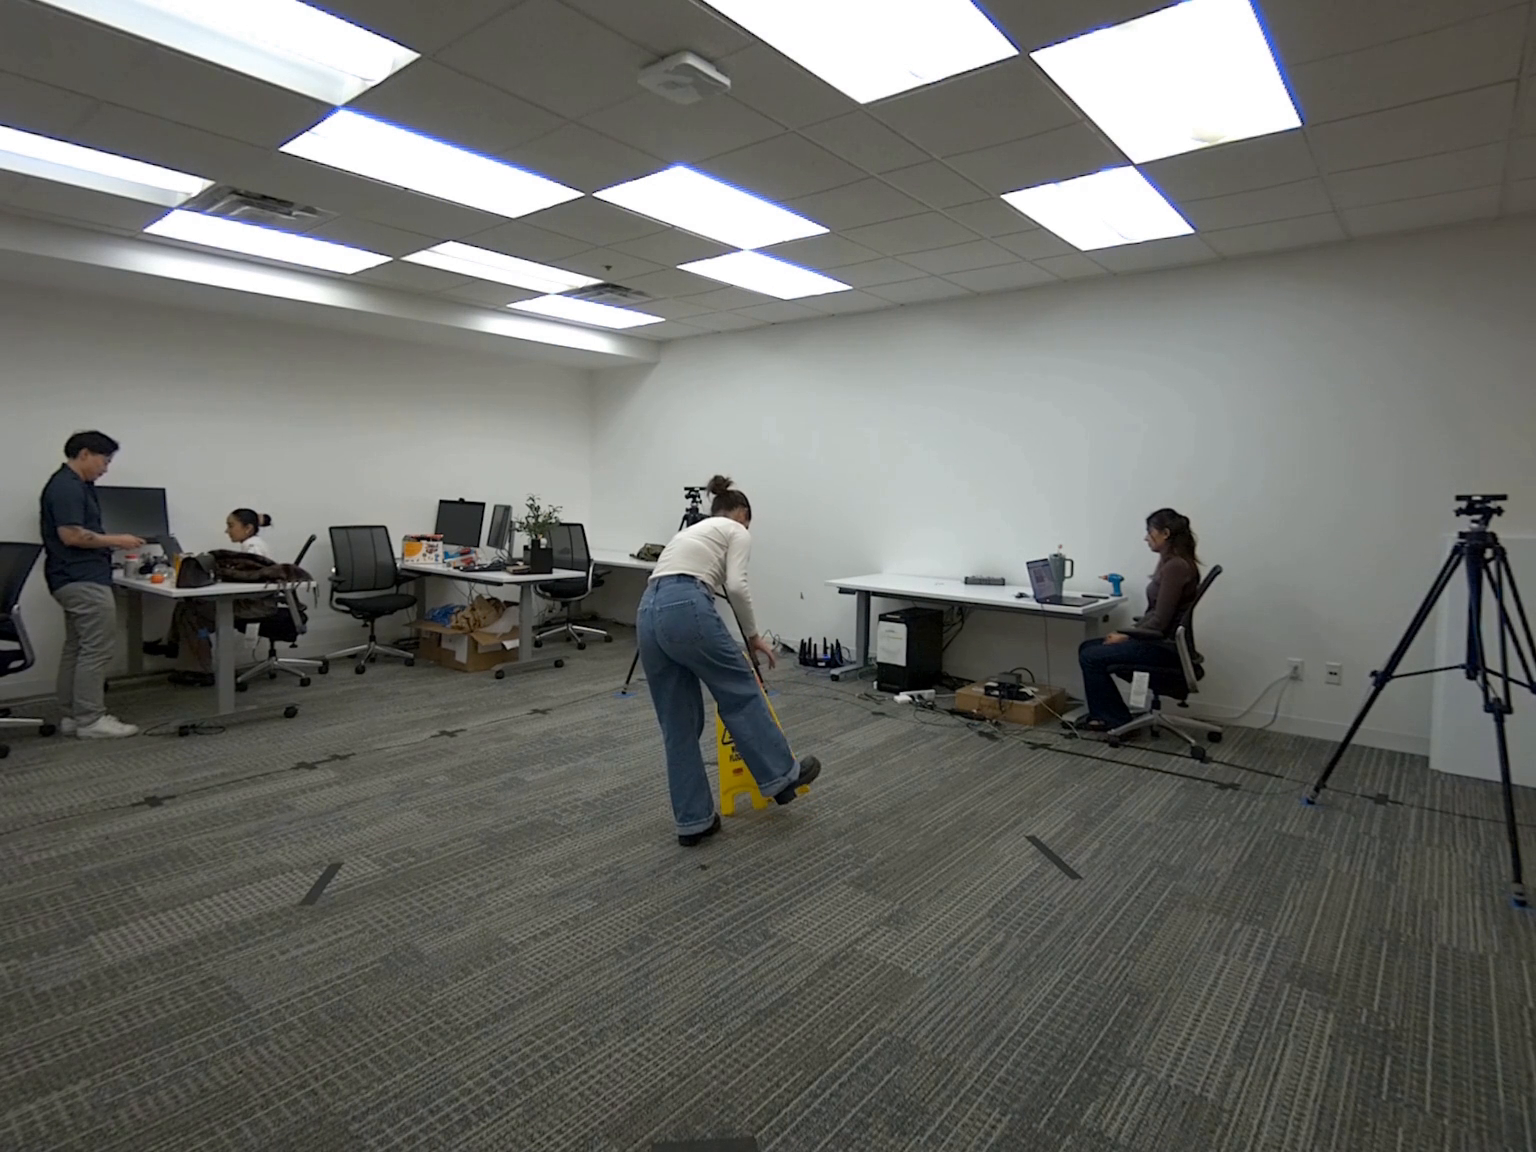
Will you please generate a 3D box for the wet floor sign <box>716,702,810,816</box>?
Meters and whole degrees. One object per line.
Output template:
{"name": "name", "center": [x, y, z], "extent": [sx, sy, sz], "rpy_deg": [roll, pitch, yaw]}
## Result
{"name": "wet floor sign", "center": [-0.098, 0.657, 3.705], "extent": [0.281, 0.656, 0.286], "rpy_deg": [-3, -18, -45]}
